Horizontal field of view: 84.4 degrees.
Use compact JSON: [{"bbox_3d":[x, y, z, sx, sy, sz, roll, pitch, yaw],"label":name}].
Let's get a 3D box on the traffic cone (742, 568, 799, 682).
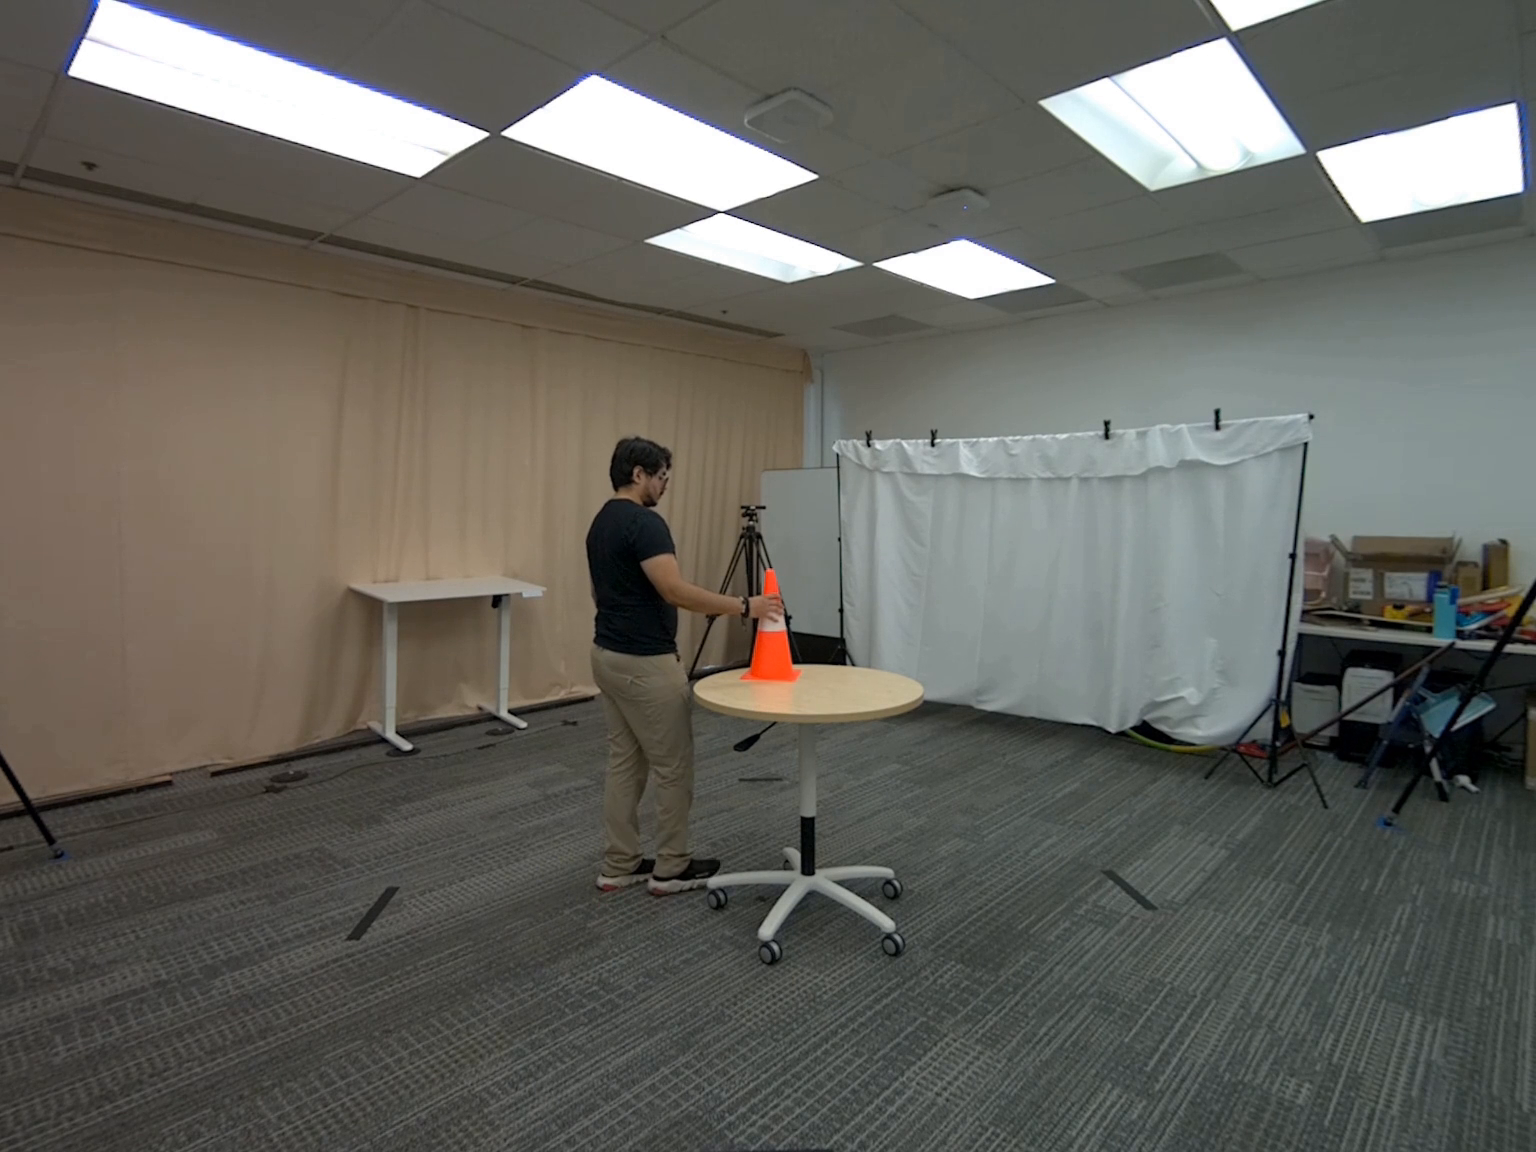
[{"bbox_3d":[0.011,0.171,3.023,0.203,0.384,0.205,0,-1,-11],"label":"traffic cone"}]
